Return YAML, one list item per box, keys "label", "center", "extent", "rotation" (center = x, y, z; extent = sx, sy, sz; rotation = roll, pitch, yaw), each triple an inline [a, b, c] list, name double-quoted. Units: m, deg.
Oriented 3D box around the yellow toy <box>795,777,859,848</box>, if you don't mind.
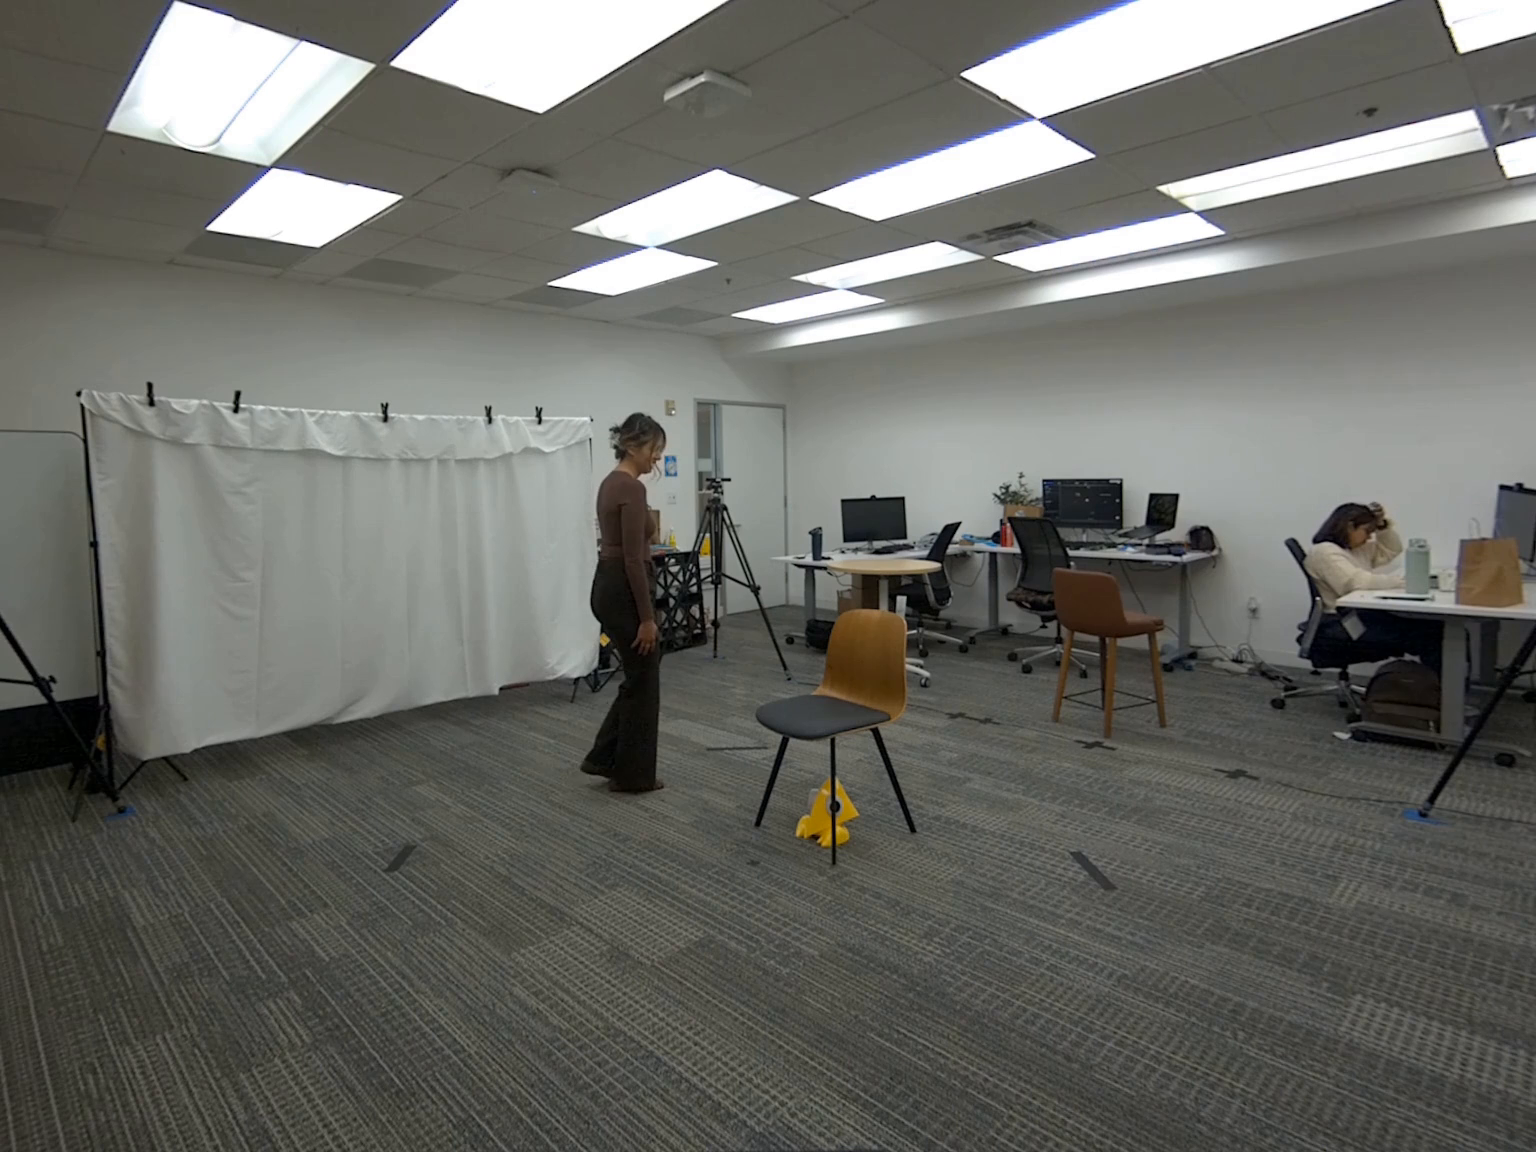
- label: "yellow toy"
  center: [0.226, 0.902, 3.335]
  extent: [0.211, 0.230, 0.188]
  rotation: [4, 7, 45]
